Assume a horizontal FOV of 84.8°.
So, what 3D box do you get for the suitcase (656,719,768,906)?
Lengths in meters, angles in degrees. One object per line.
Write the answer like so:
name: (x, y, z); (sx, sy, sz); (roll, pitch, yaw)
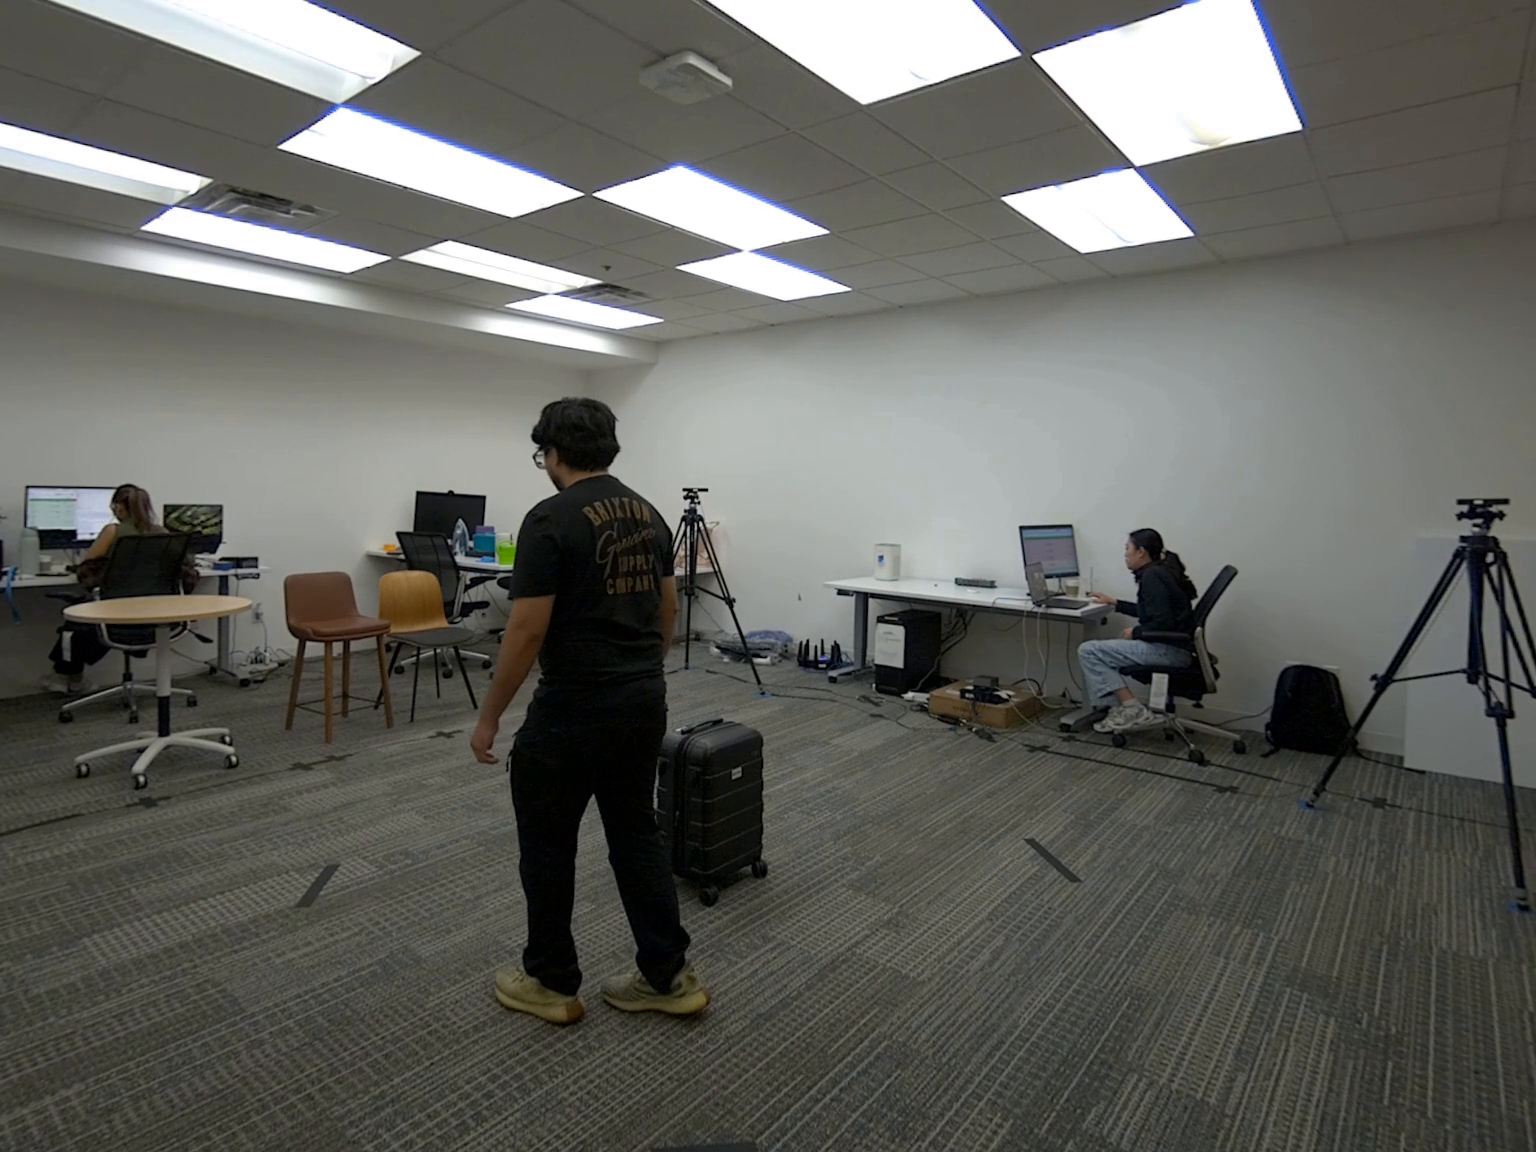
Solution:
suitcase: (-0.209, 0.802, 3.029); (0.256, 0.548, 0.364); (2, 3, 37)
